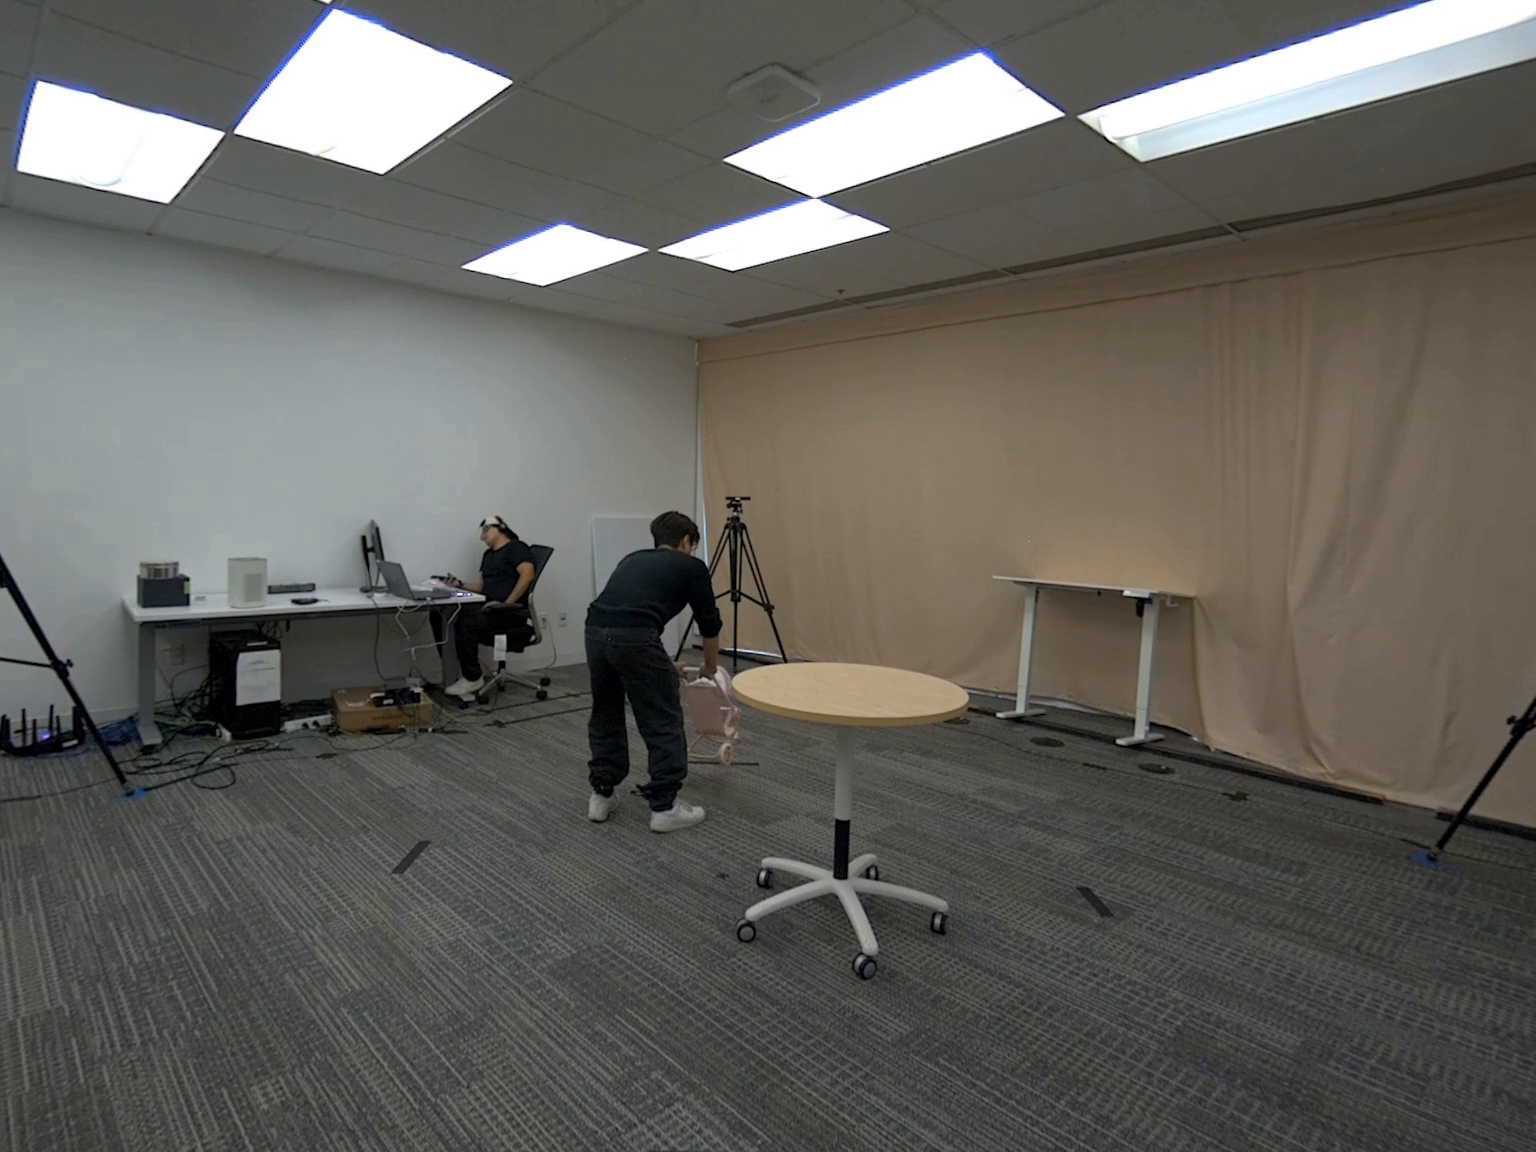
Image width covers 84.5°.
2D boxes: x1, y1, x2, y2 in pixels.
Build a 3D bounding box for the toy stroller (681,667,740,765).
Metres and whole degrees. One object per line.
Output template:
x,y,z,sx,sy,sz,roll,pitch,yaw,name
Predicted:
-0.287,0.687,4.163,0.287,0.533,0.335,-2,5,31,toy stroller
